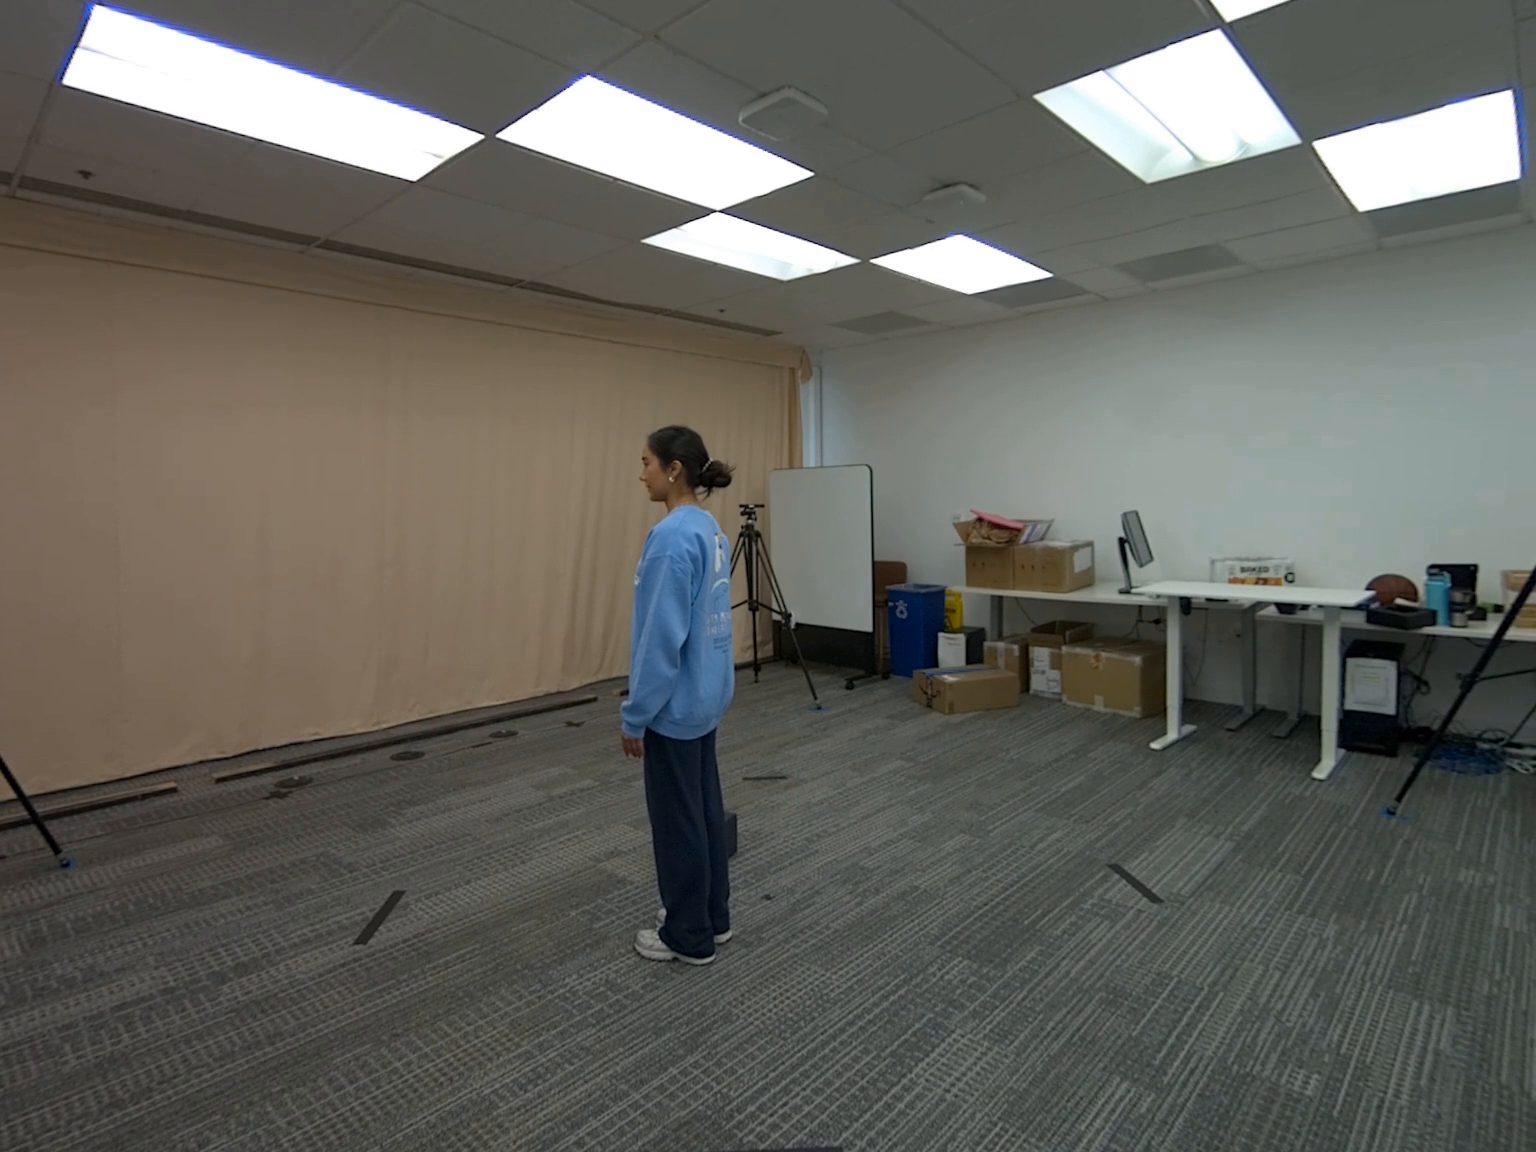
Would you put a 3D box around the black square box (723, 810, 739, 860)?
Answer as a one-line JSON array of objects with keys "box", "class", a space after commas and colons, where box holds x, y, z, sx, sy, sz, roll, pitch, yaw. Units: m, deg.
[{"box": [-0.267, 1.031, 3.325, 0.223, 0.155, 0.222, 0, 4, 27], "class": "black square box"}]
